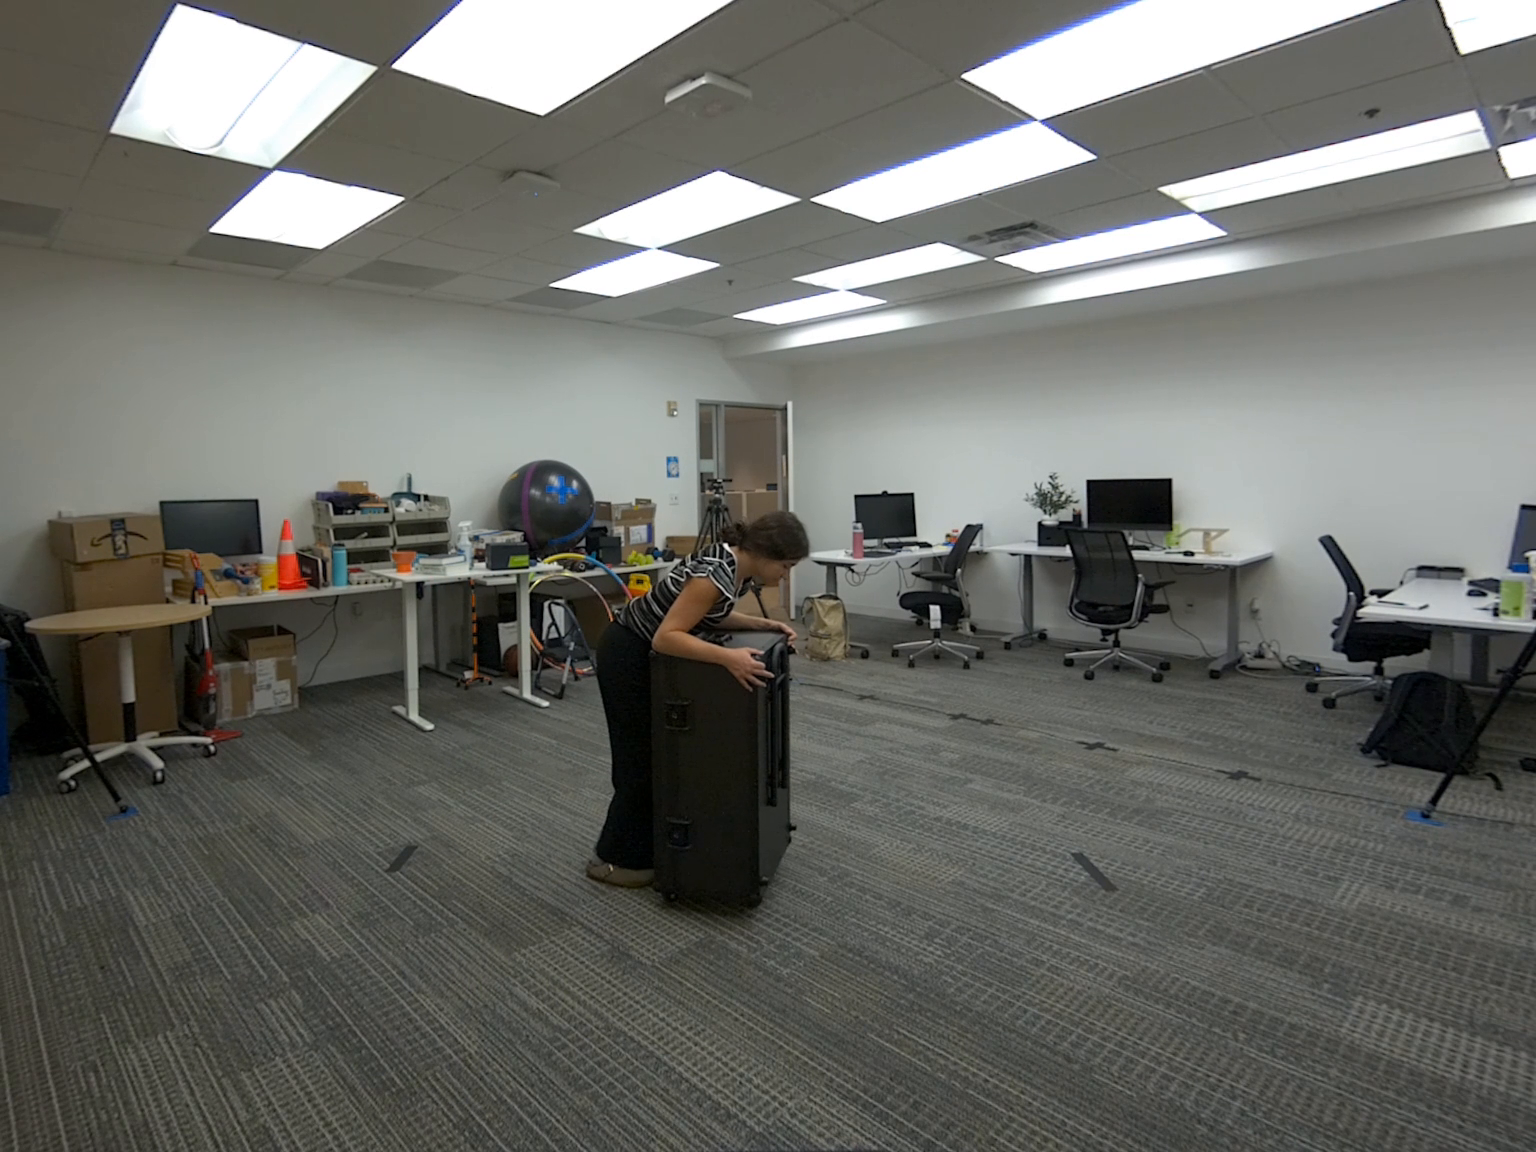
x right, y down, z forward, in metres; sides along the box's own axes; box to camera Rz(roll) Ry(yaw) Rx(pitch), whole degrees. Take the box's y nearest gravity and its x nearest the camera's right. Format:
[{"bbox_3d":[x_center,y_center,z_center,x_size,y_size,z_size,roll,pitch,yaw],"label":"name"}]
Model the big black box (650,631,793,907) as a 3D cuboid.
[{"bbox_3d":[-0.127,0.650,2.928,0.401,0.858,0.517,2,5,12],"label":"big black box"}]
